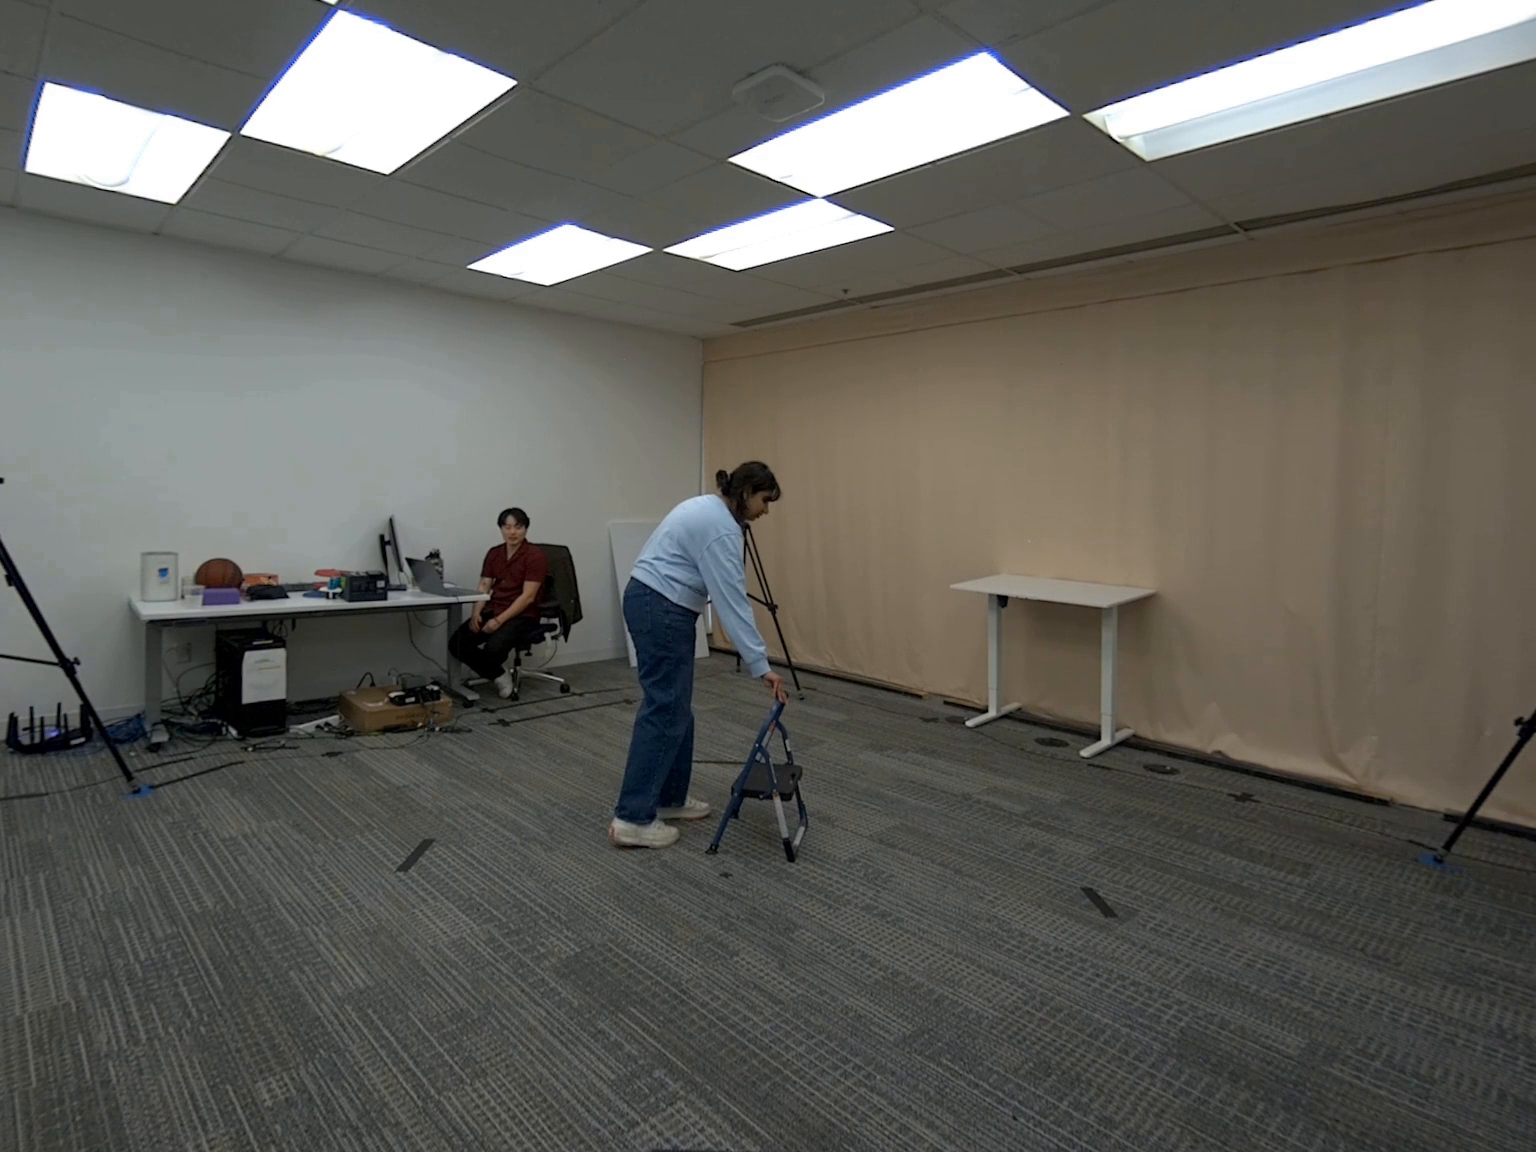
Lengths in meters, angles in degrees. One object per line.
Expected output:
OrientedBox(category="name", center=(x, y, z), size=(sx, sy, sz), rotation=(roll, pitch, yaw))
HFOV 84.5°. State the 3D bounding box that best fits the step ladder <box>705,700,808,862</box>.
OrientedBox(category="step ladder", center=(-0.035, 0.778, 3.441), size=(0.352, 0.604, 0.427), rotation=(1, 4, 11))
